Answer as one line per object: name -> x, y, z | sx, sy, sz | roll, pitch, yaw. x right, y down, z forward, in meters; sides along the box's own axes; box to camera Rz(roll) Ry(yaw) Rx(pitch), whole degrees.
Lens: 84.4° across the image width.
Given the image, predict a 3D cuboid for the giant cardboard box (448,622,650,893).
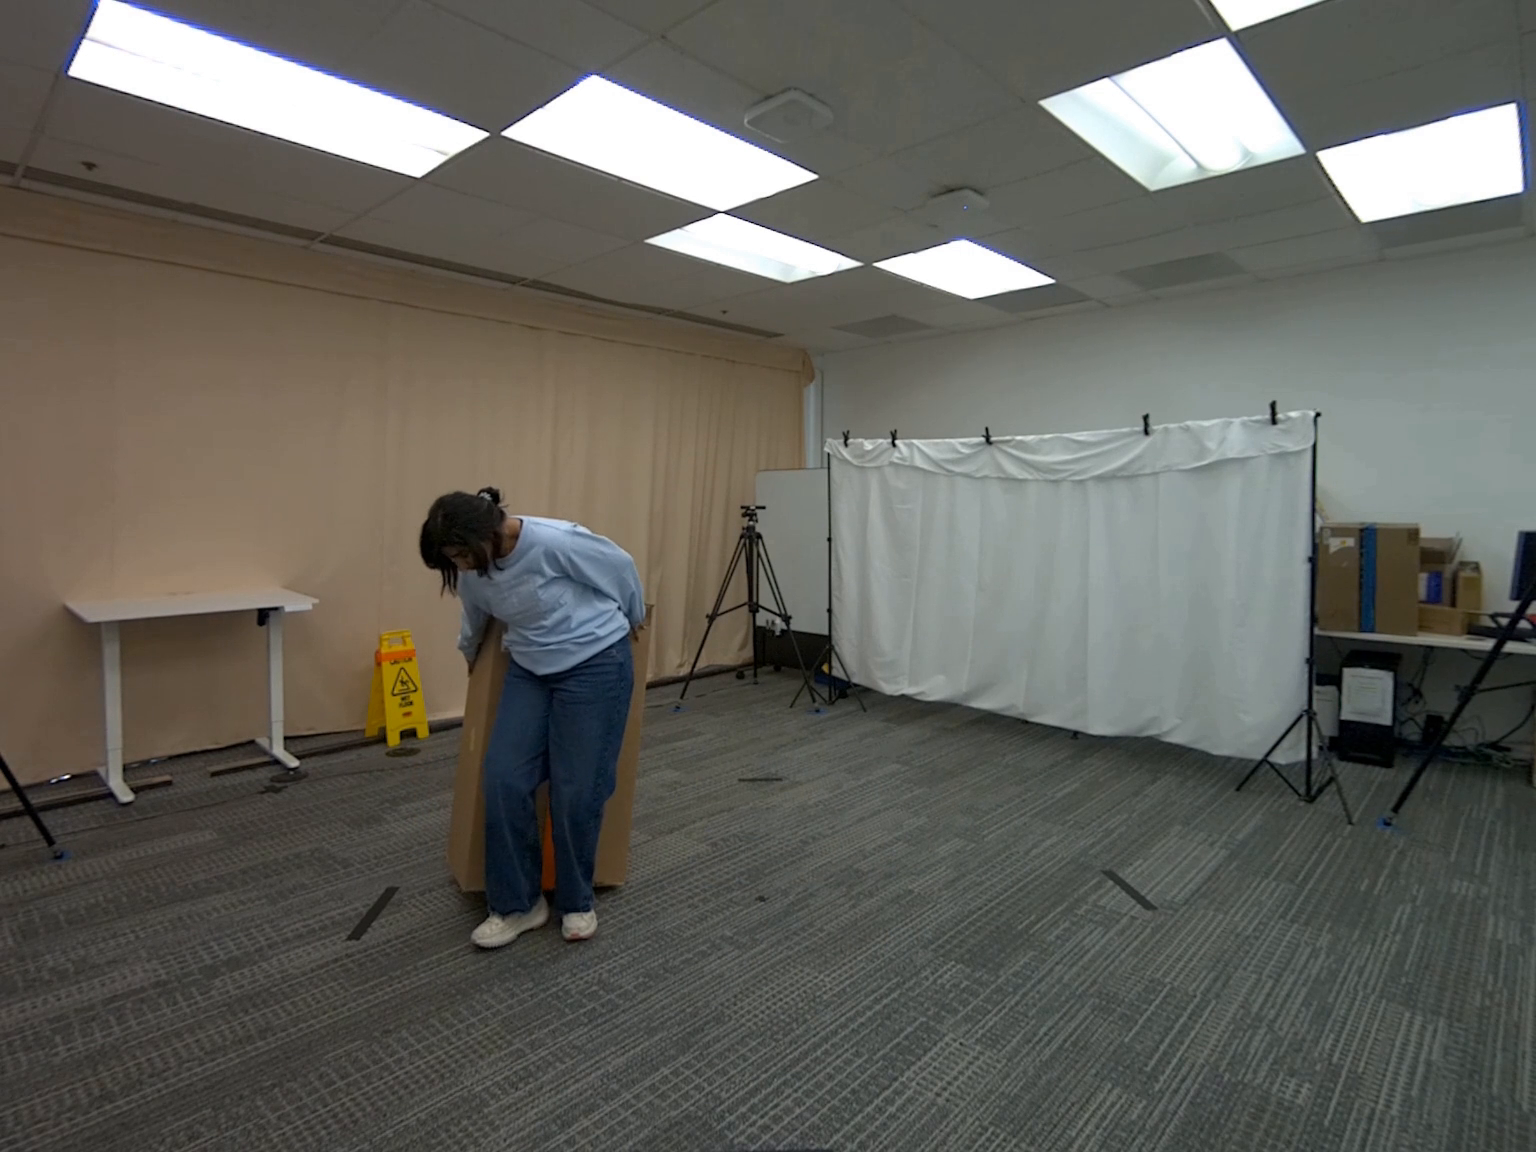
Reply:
giant cardboard box -> -0.819, 0.585, 3.160 | 0.563, 1.029, 0.436 | 7, -6, -25
